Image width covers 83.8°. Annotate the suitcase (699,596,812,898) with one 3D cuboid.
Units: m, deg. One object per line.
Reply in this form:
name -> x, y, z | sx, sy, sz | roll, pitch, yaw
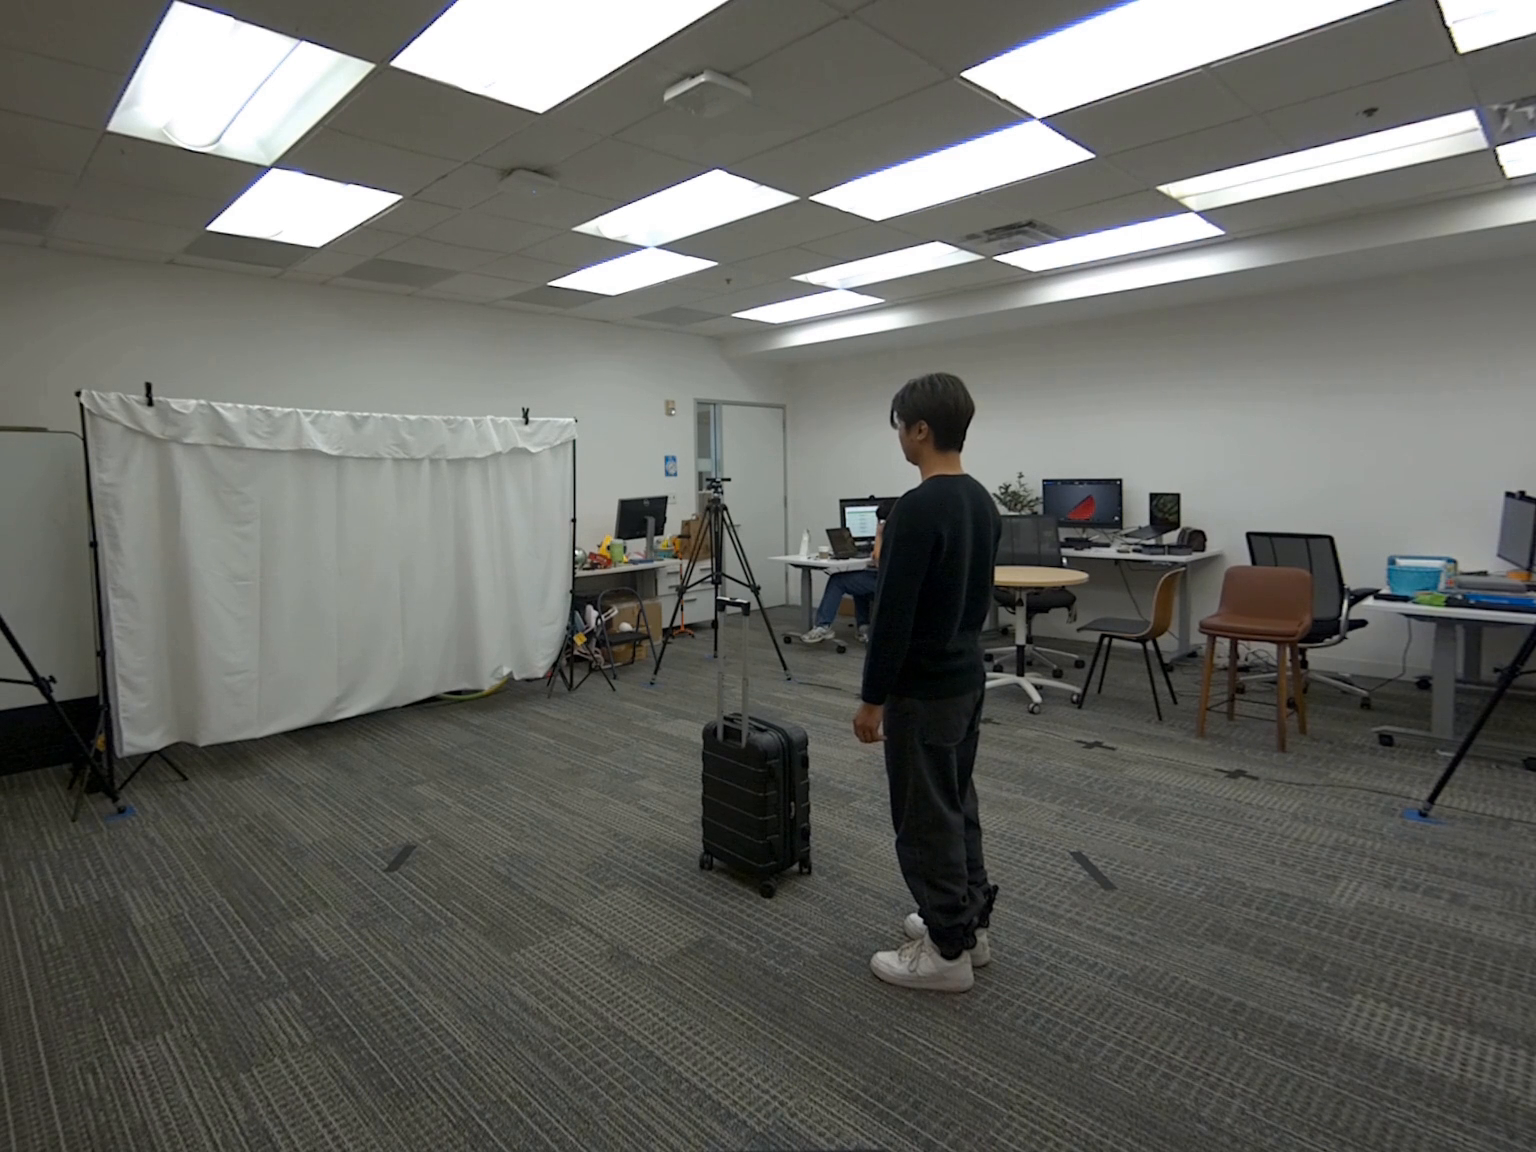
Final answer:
suitcase -> -0.042, 0.572, 3.024 | 0.250, 0.976, 0.396 | -2, 4, -44
